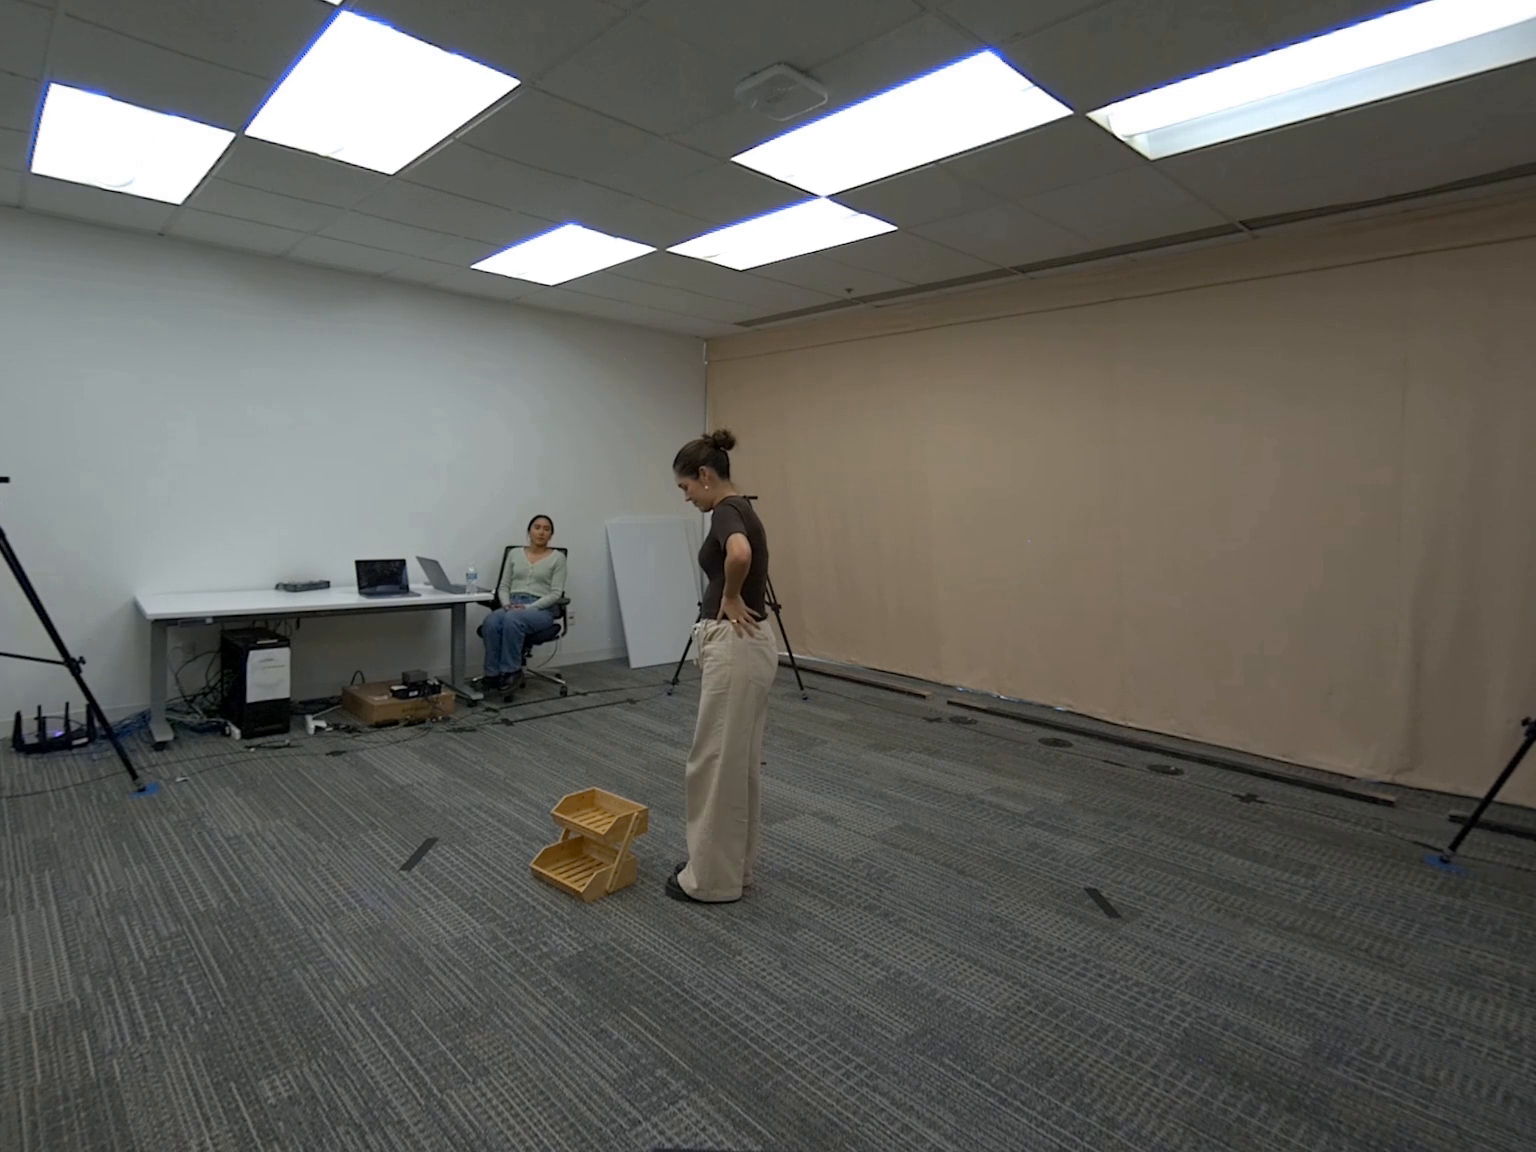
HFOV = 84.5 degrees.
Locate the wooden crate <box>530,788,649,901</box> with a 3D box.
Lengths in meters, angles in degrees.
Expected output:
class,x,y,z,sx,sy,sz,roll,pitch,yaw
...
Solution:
class,x,y,z,sx,sy,sz,roll,pitch,yaw
wooden crate,-0.650,0.957,3.048,0.333,0.273,0.295,5,5,40
